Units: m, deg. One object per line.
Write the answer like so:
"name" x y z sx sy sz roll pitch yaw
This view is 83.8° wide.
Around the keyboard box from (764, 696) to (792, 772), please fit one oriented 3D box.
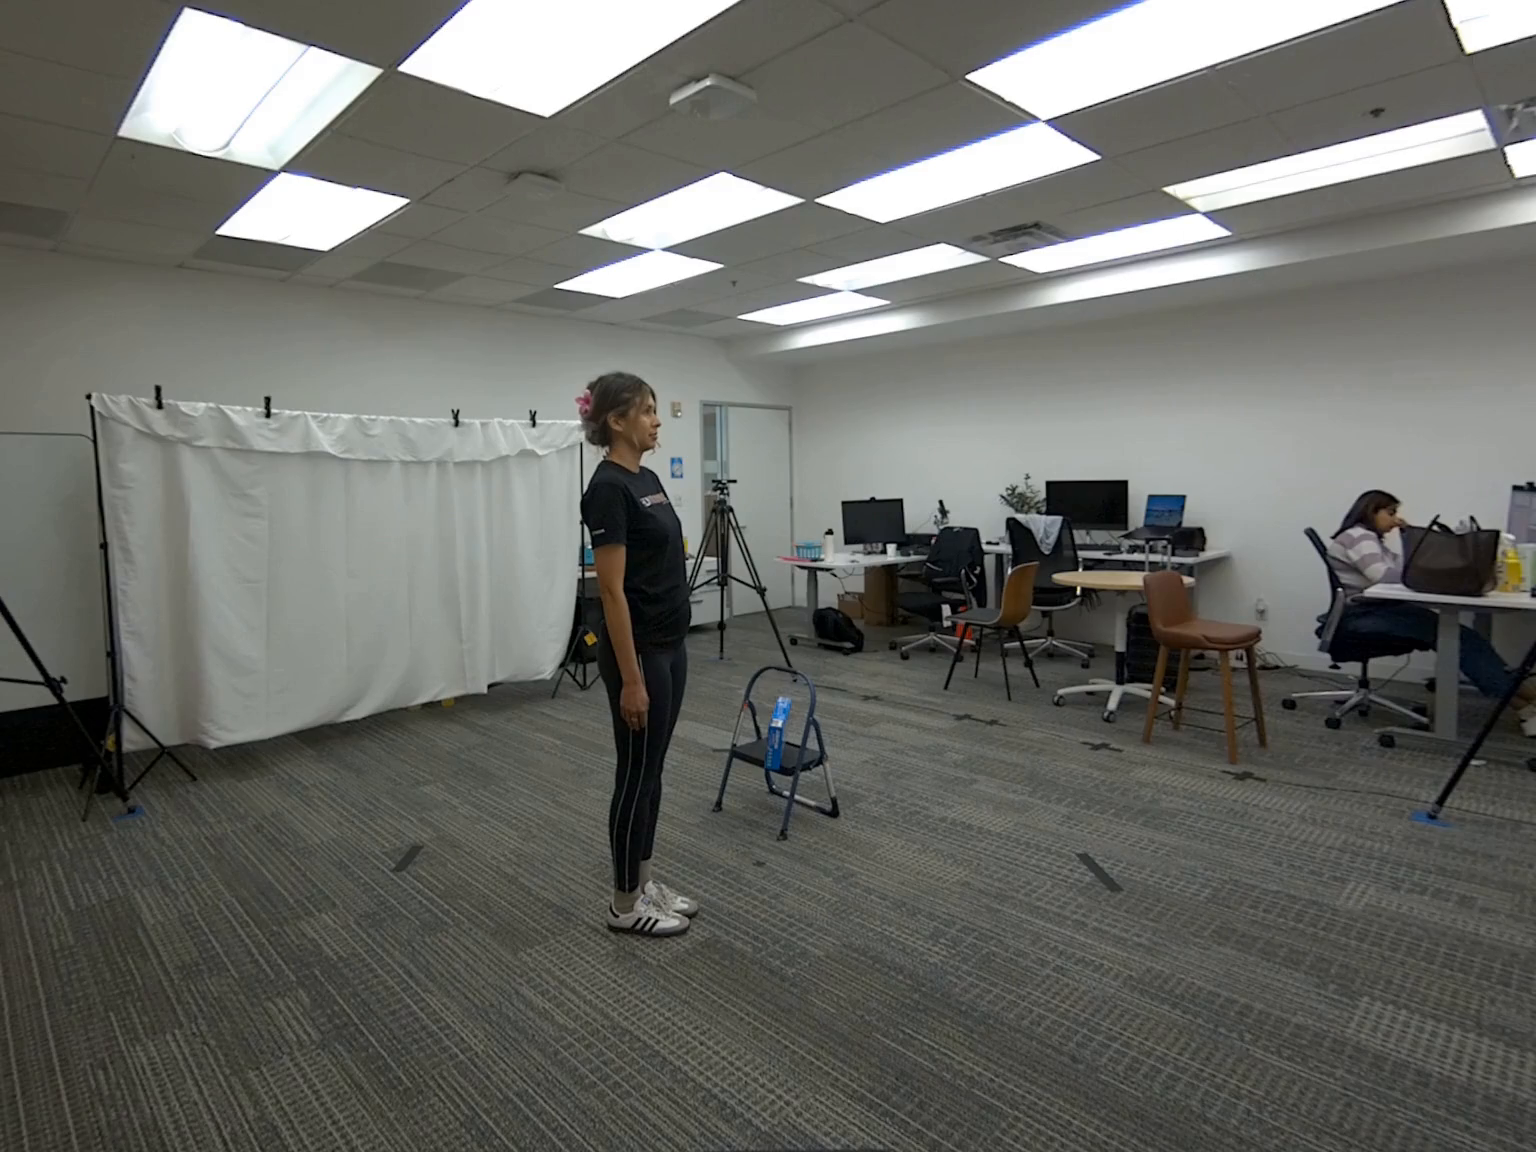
"keyboard box" 0.045 0.648 3.560 0.059 0.175 0.436 6 7 5
